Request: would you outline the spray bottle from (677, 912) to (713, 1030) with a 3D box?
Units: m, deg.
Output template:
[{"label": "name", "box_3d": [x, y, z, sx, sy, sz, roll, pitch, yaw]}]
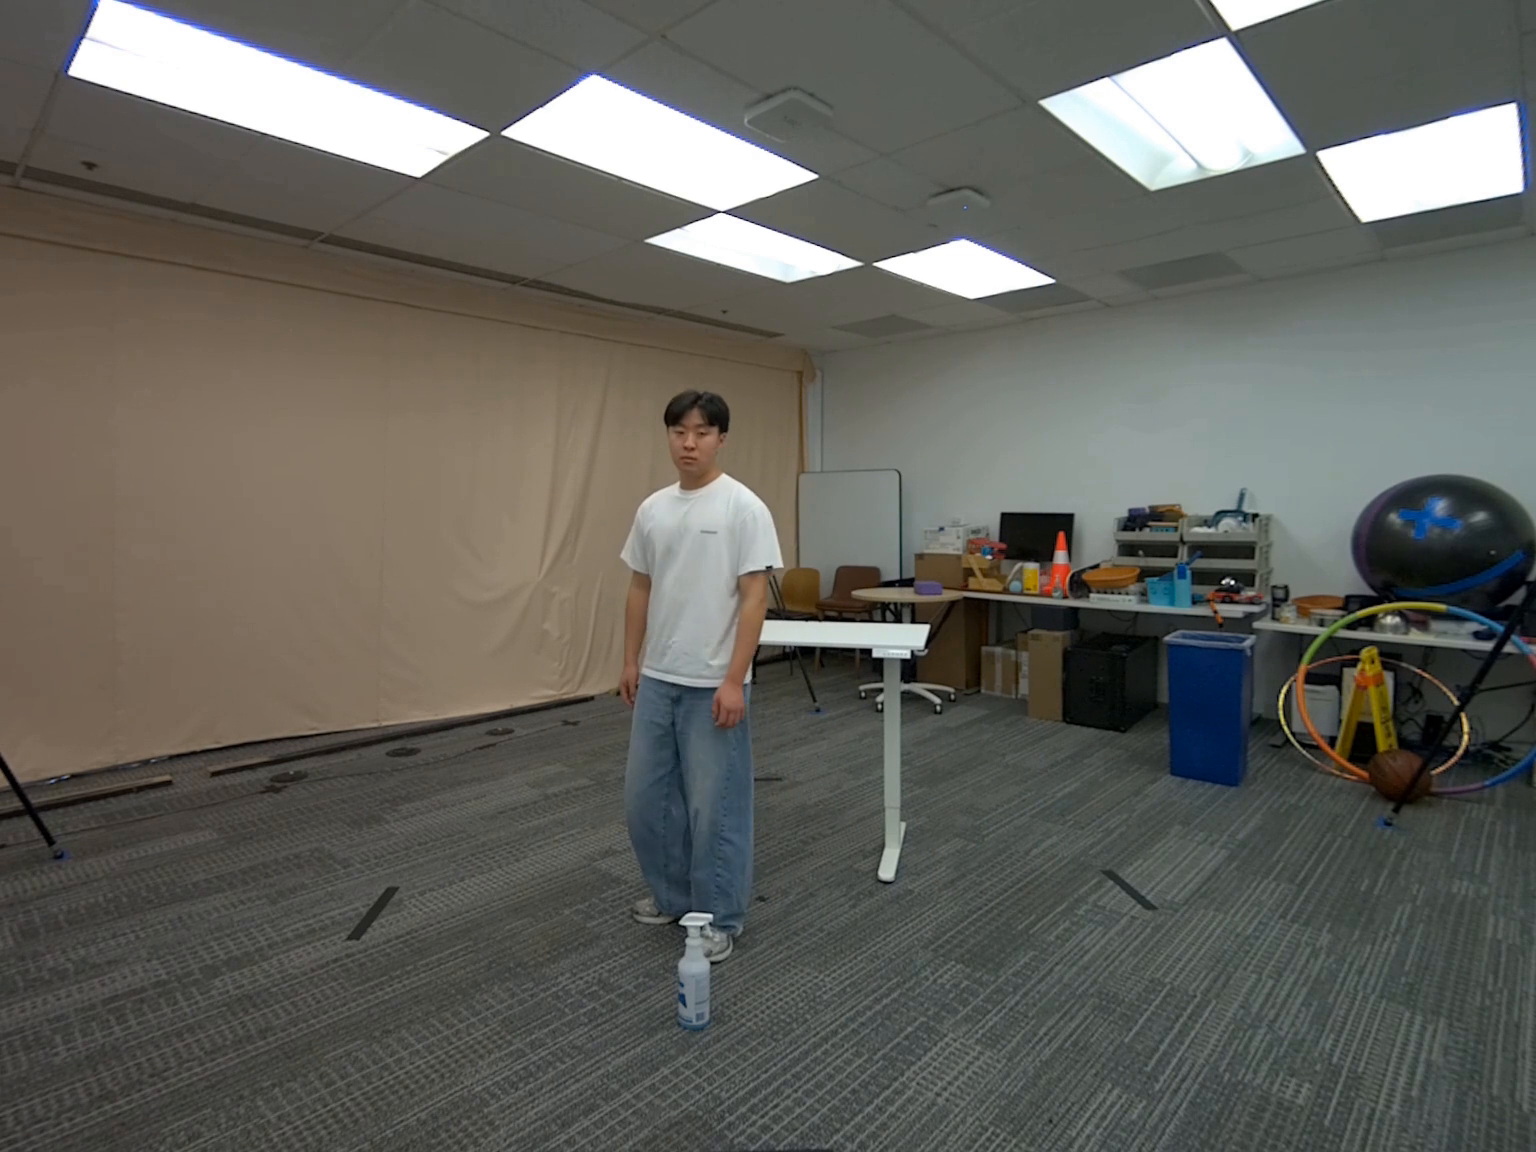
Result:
[{"label": "spray bottle", "box_3d": [-0.194, 1.058, 2.281, 0.093, 0.297, 0.084, 3, 3, 32]}]
